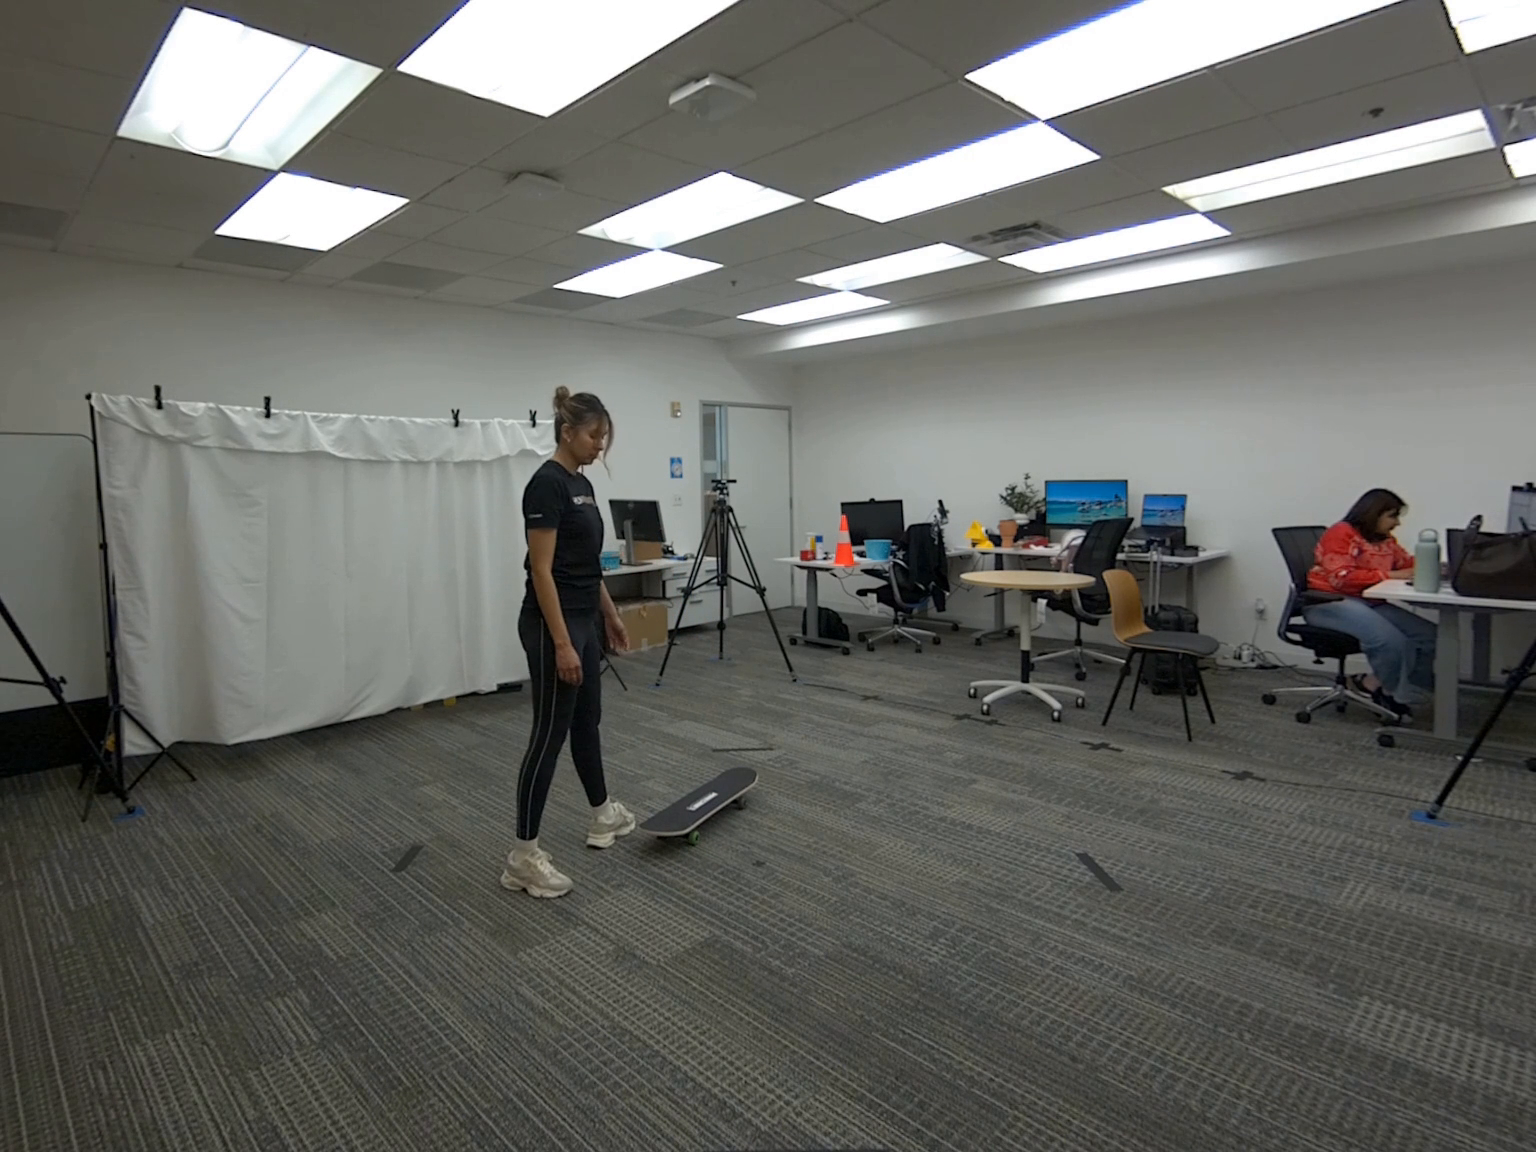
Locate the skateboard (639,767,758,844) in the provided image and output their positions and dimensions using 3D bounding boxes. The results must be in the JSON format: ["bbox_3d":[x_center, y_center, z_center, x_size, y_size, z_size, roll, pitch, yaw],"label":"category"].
[{"bbox_3d":[-0.267,0.950,3.496,0.198,0.110,0.770,1,6,26],"label":"skateboard"}]
